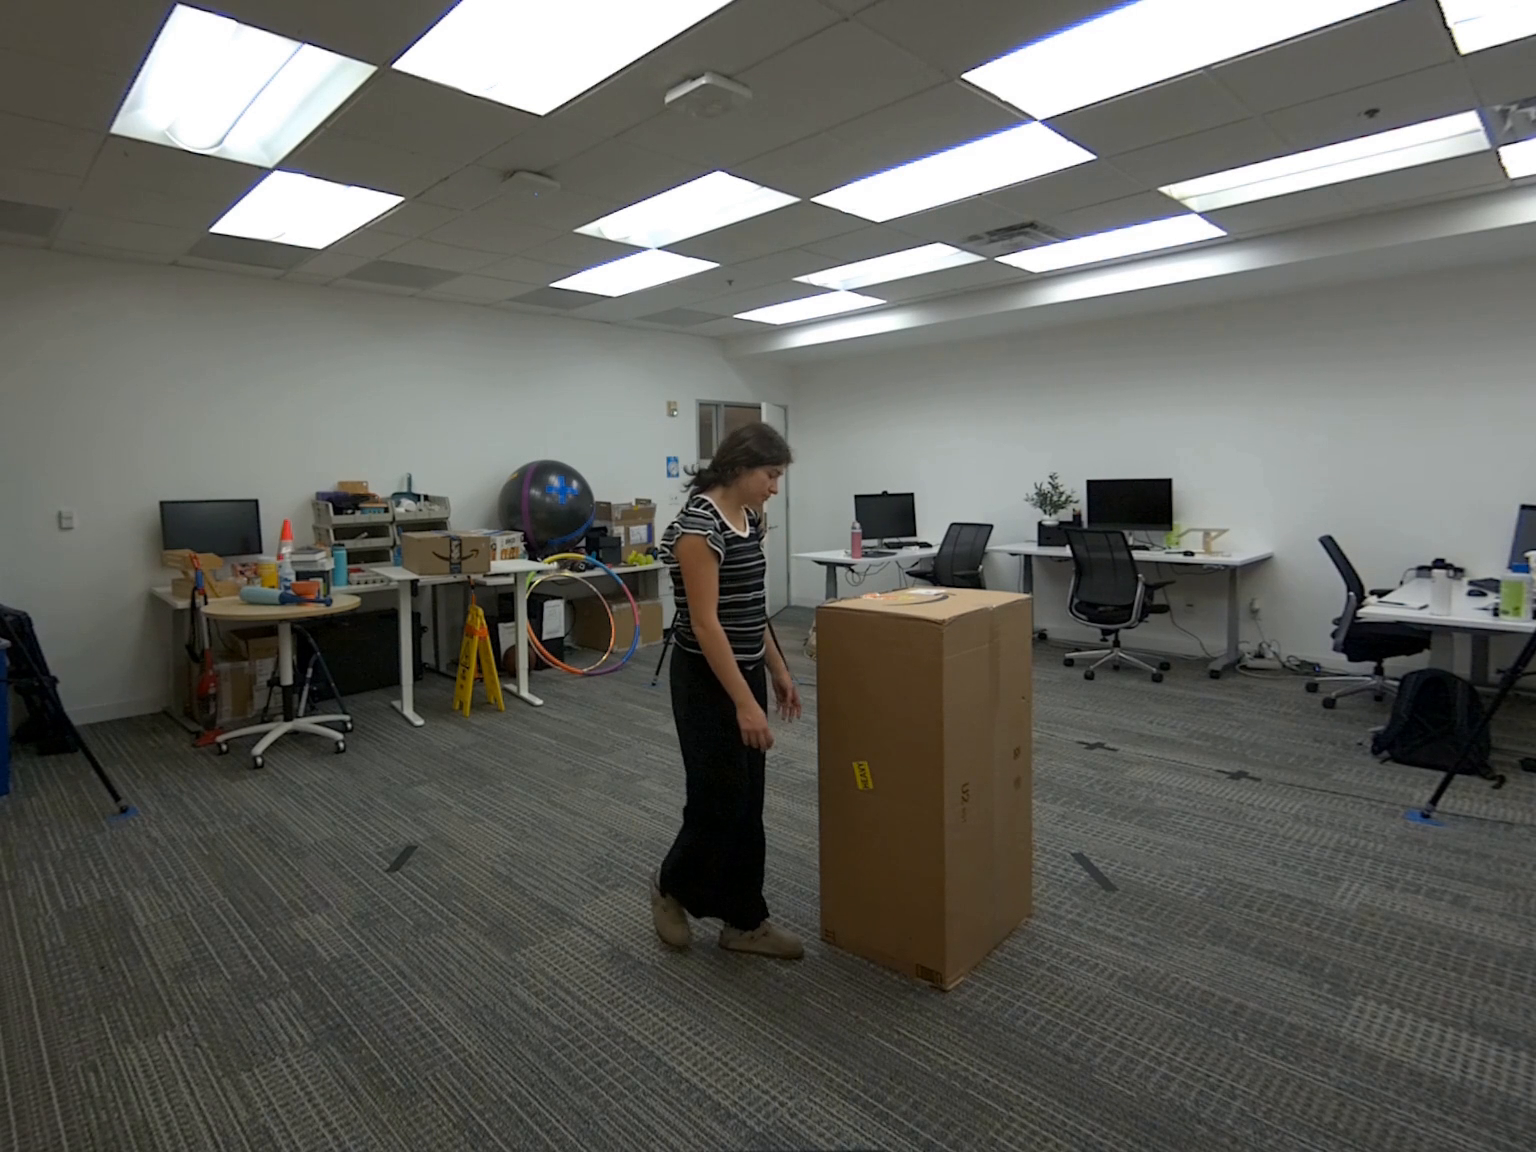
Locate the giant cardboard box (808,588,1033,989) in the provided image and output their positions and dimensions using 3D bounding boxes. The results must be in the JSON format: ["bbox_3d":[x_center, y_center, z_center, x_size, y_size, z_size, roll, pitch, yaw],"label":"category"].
[{"bbox_3d":[0.497,0.585,2.631,0.439,1.022,0.563,2,5,40],"label":"giant cardboard box"}]
